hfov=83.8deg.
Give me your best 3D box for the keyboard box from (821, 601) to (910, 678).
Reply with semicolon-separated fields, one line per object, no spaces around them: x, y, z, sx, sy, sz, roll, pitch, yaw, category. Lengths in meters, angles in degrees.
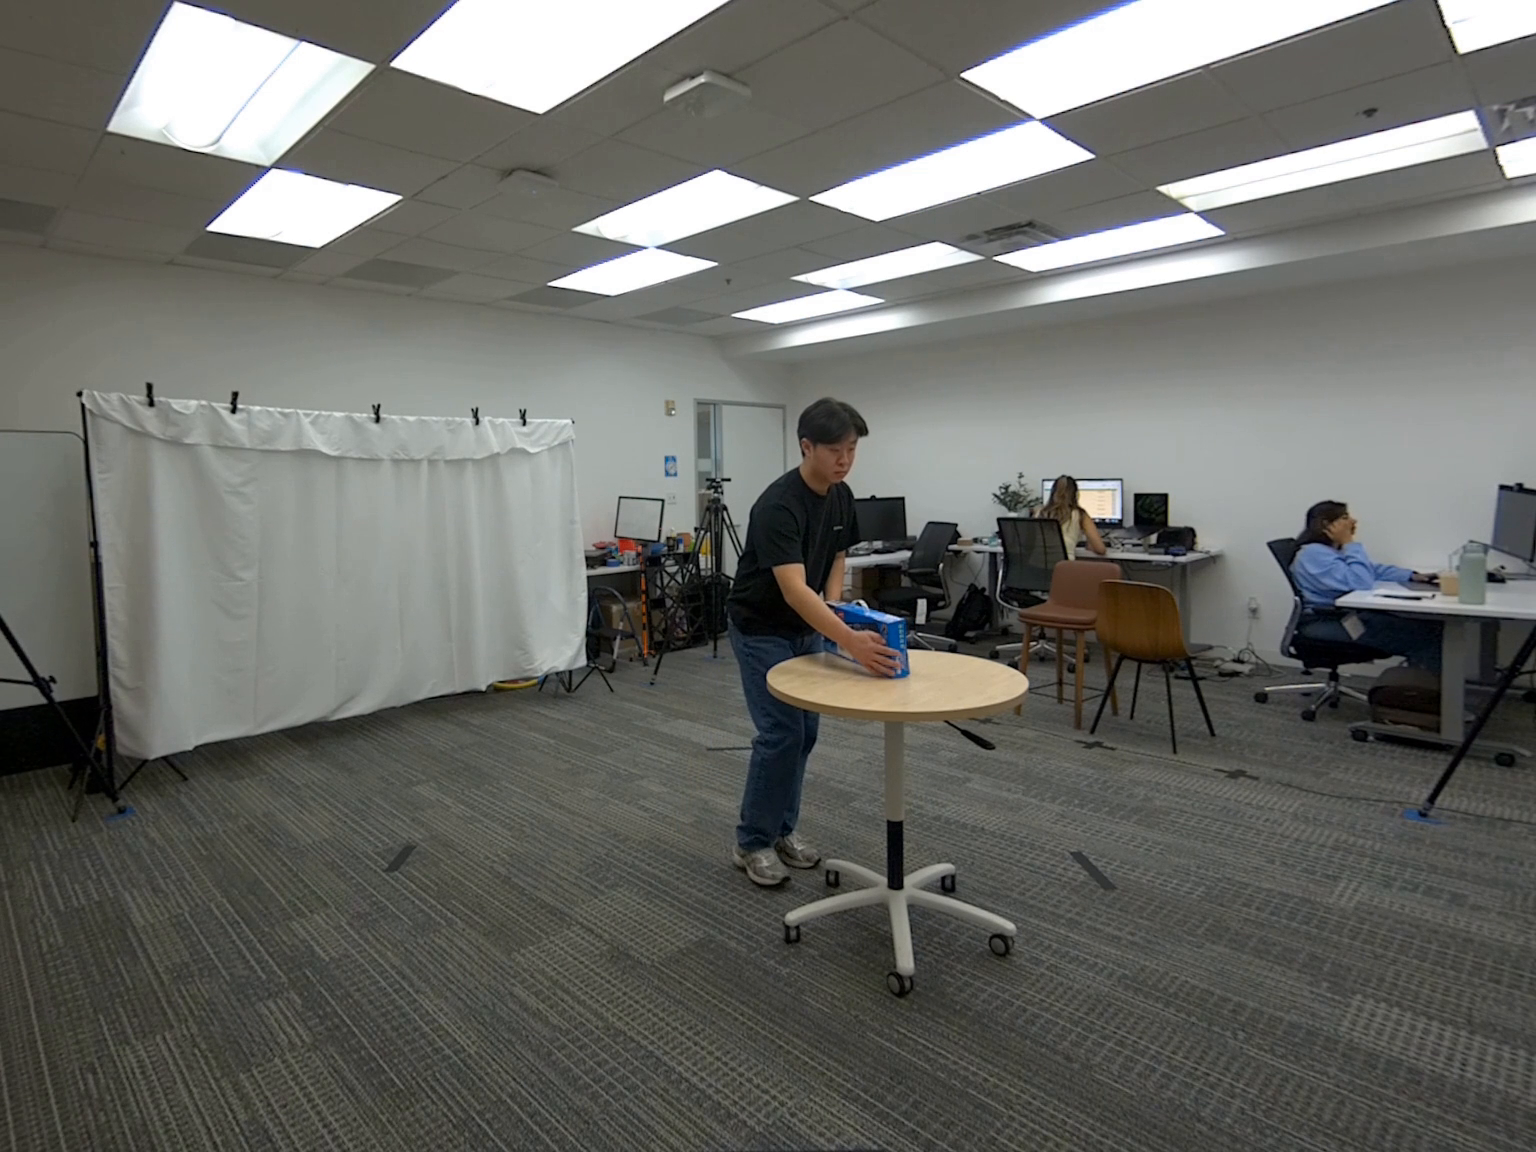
0.303;0.201;2.733;0.058;0.175;0.446;-6;8;-20;keyboard box
